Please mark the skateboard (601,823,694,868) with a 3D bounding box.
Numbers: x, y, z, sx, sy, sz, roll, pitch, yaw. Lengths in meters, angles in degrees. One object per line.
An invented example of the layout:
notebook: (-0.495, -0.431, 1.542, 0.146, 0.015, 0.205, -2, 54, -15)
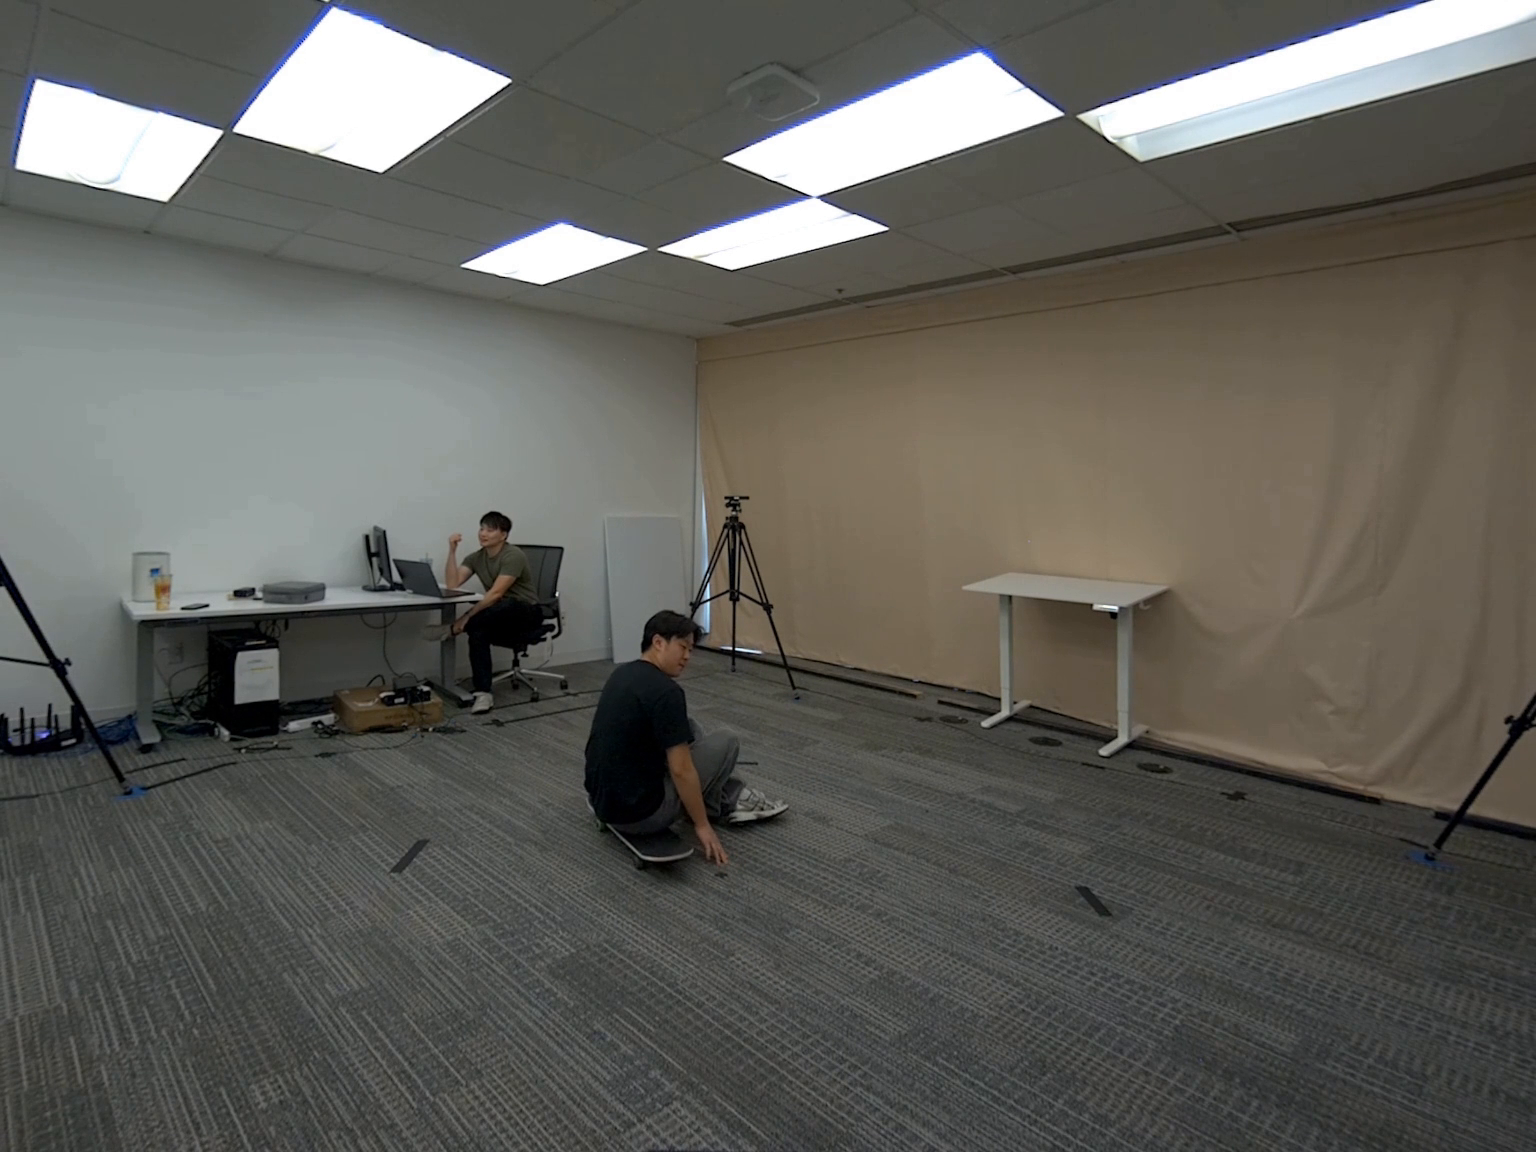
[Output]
skateboard: (-0.530, 1.020, 3.359, 0.190, 0.110, 0.803, -5, 7, -29)
